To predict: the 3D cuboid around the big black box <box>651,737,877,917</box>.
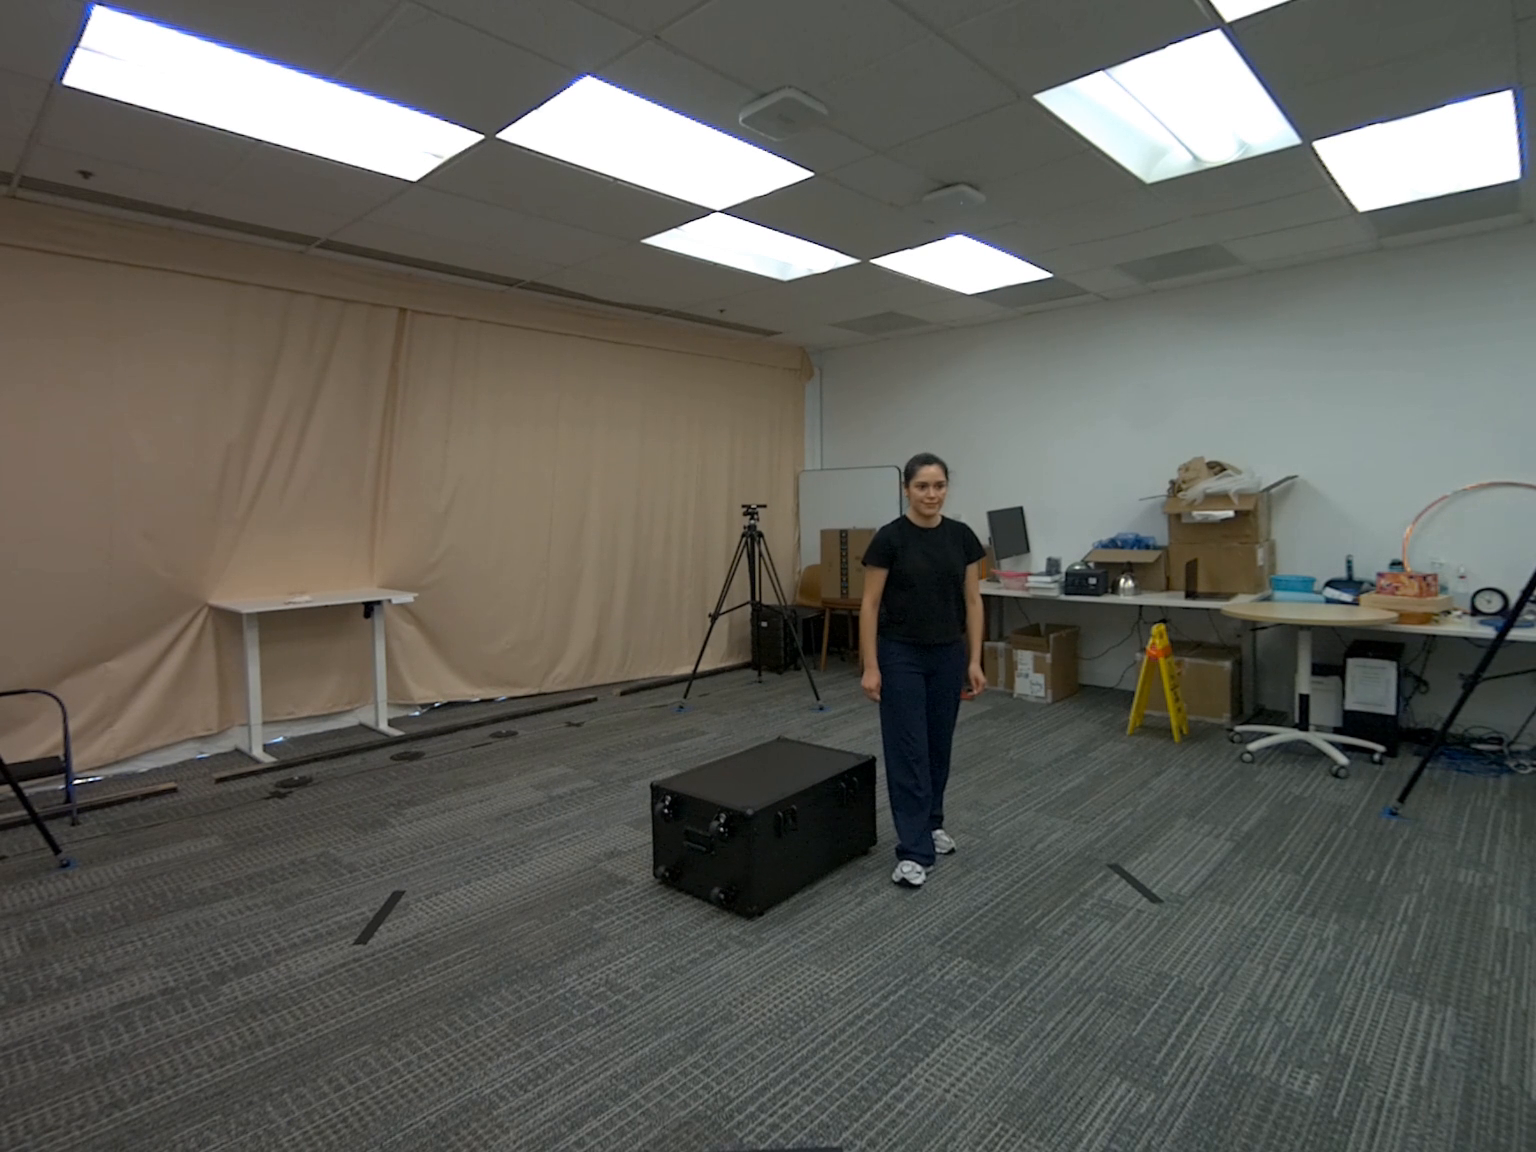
[{"bbox_3d":[-0.009,0.930,3.212,0.538,0.395,0.835,2,5,40],"label":"big black box"}]
